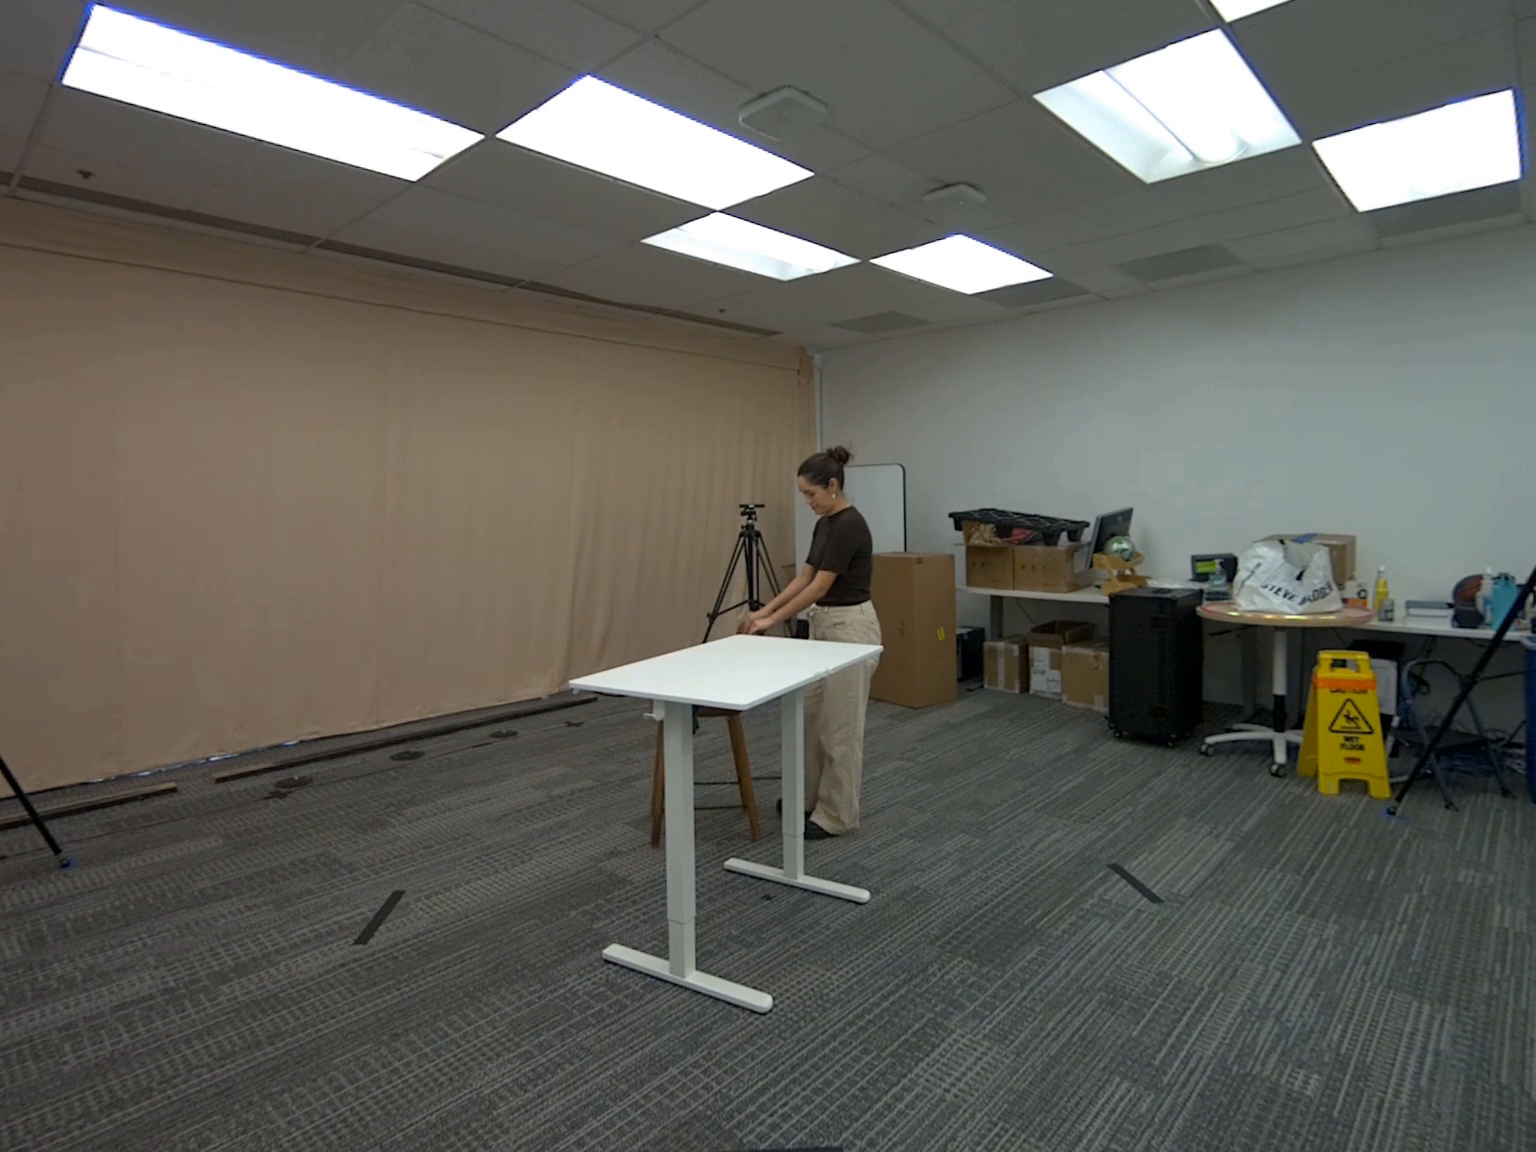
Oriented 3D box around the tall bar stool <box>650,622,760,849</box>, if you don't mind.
[{"bbox_3d":[-0.279,0.653,3.636,0.465,0.889,0.460,1,2,-7],"label":"tall bar stool"}]
